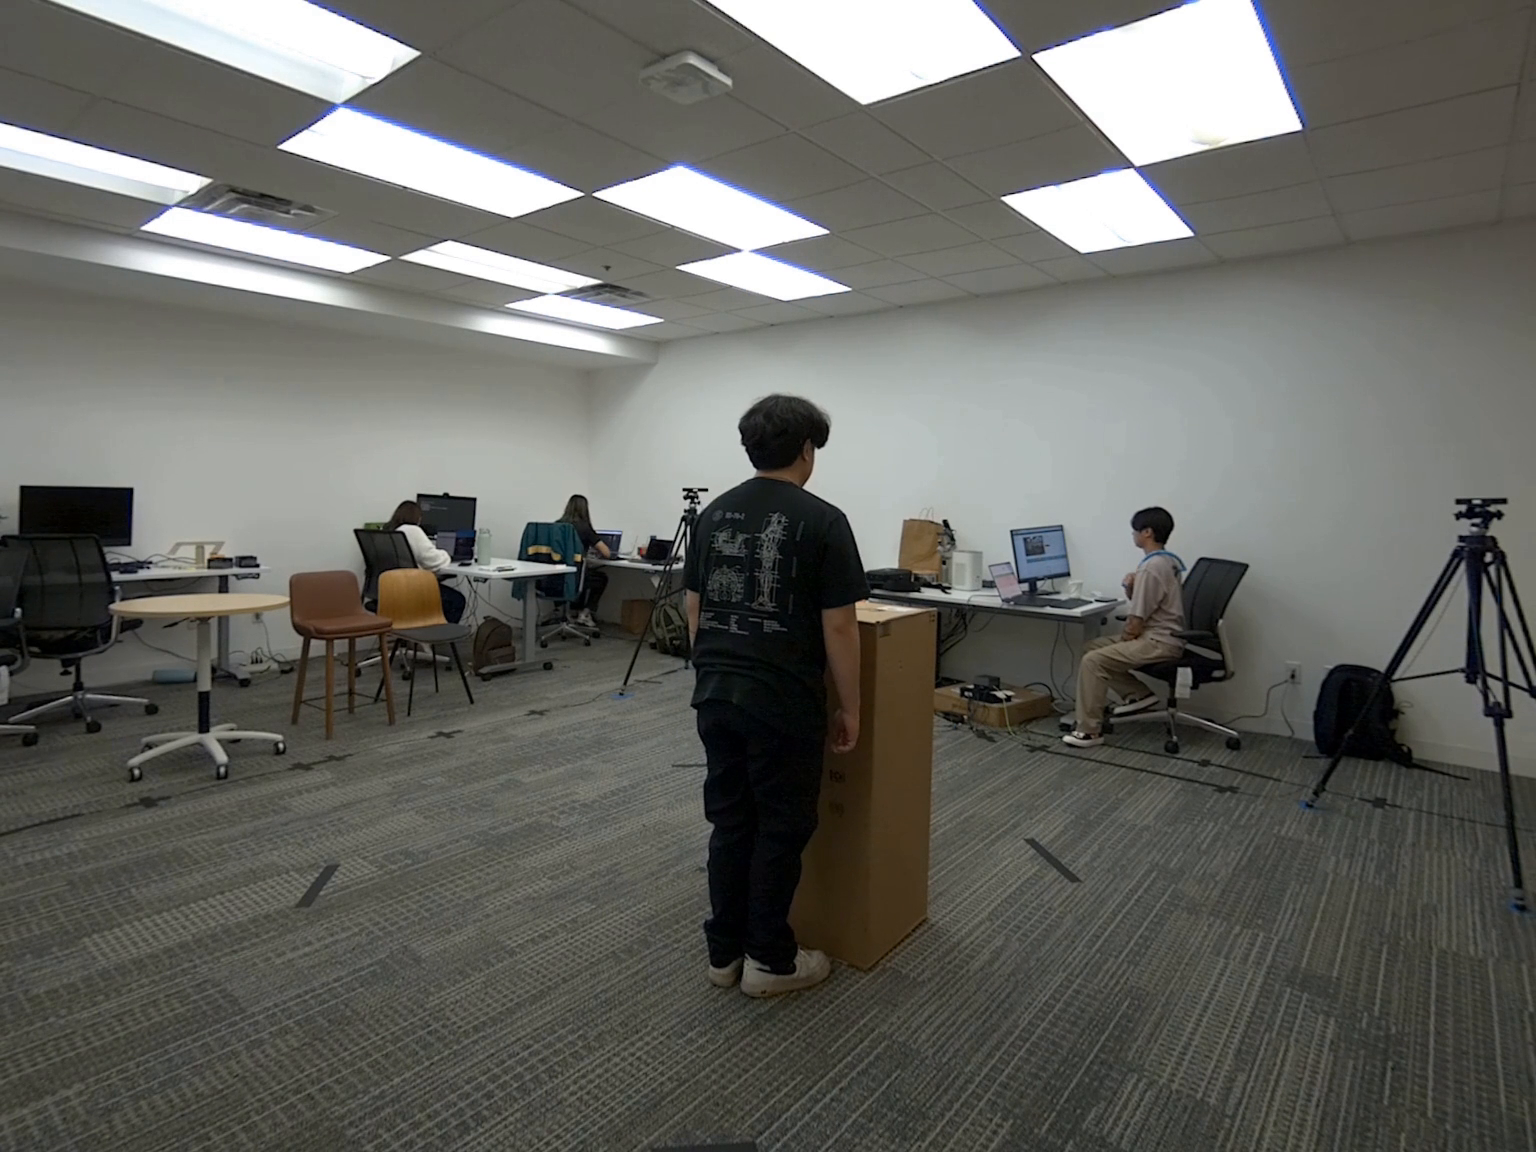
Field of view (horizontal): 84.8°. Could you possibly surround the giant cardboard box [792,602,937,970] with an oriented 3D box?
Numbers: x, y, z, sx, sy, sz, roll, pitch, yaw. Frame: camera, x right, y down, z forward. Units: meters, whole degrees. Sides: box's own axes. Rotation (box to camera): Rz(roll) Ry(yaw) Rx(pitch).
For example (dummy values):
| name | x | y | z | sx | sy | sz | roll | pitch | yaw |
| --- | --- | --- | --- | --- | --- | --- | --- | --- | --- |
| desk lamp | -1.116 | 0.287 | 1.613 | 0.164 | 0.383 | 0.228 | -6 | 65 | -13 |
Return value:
| name | x | y | z | sx | sy | sz | roll | pitch | yaw |
| --- | --- | --- | --- | --- | --- | --- | --- | --- | --- |
| giant cardboard box | 0.178 | 0.599 | 2.783 | 0.603 | 1.025 | 0.433 | 4 | 3 | 37 |
